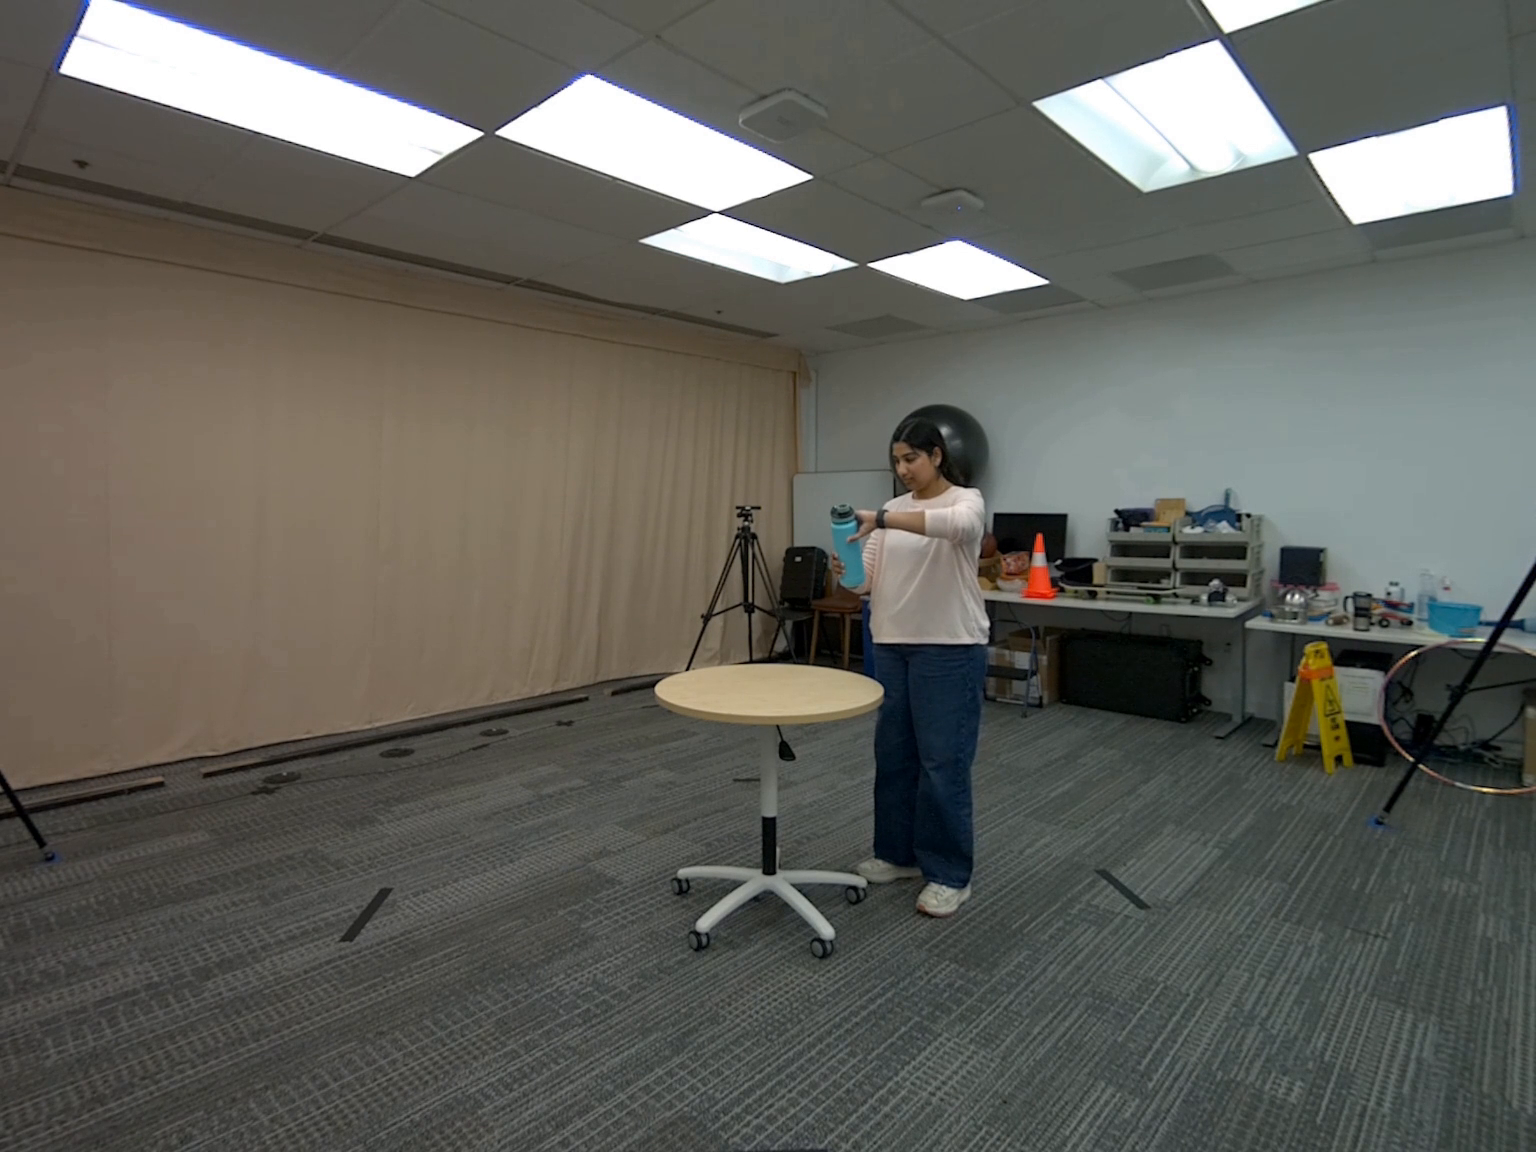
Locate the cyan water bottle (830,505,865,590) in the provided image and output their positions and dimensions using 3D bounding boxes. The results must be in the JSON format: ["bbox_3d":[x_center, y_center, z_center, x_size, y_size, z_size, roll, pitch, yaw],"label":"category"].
[{"bbox_3d":[0.275,-0.109,2.825,0.092,0.279,0.093,-12,19,3],"label":"cyan water bottle"}]
